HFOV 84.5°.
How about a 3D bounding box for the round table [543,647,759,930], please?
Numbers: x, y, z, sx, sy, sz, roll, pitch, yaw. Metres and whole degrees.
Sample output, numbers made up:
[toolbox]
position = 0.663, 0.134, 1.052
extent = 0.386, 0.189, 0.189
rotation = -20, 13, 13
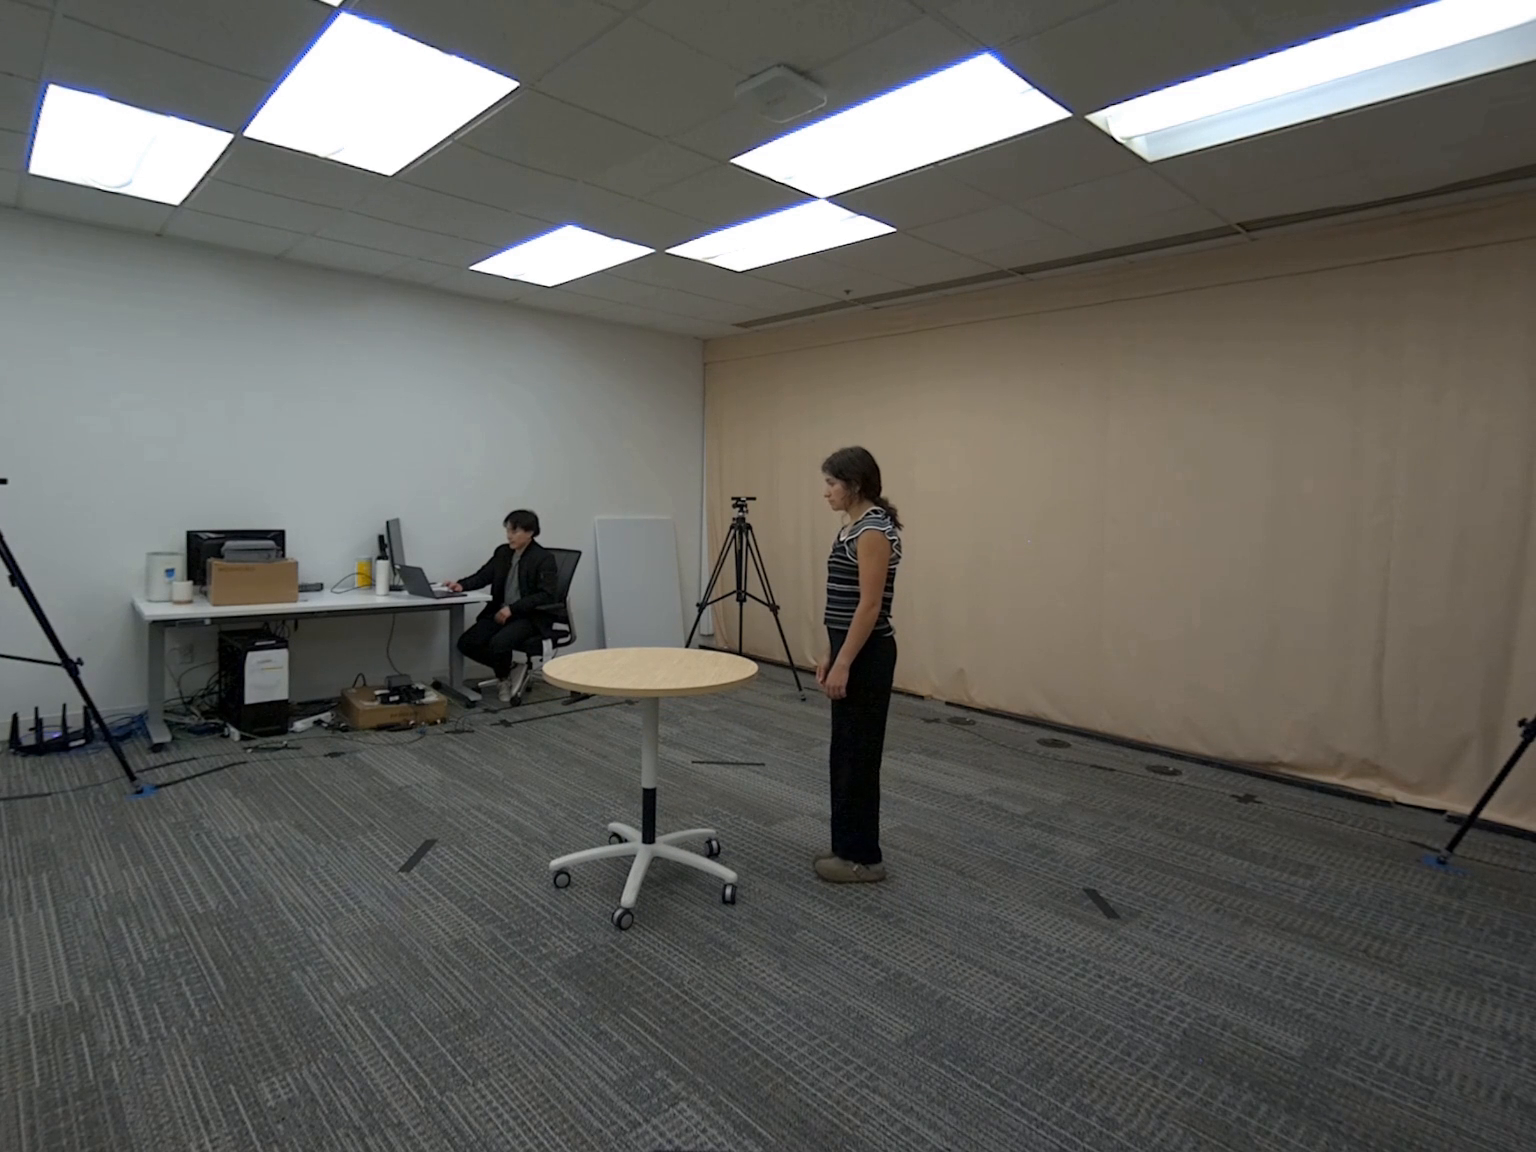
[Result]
[round table]
position = -0.414, 0.710, 3.021
extent = 0.784, 0.784, 0.788
rotation = 1, 4, -1
